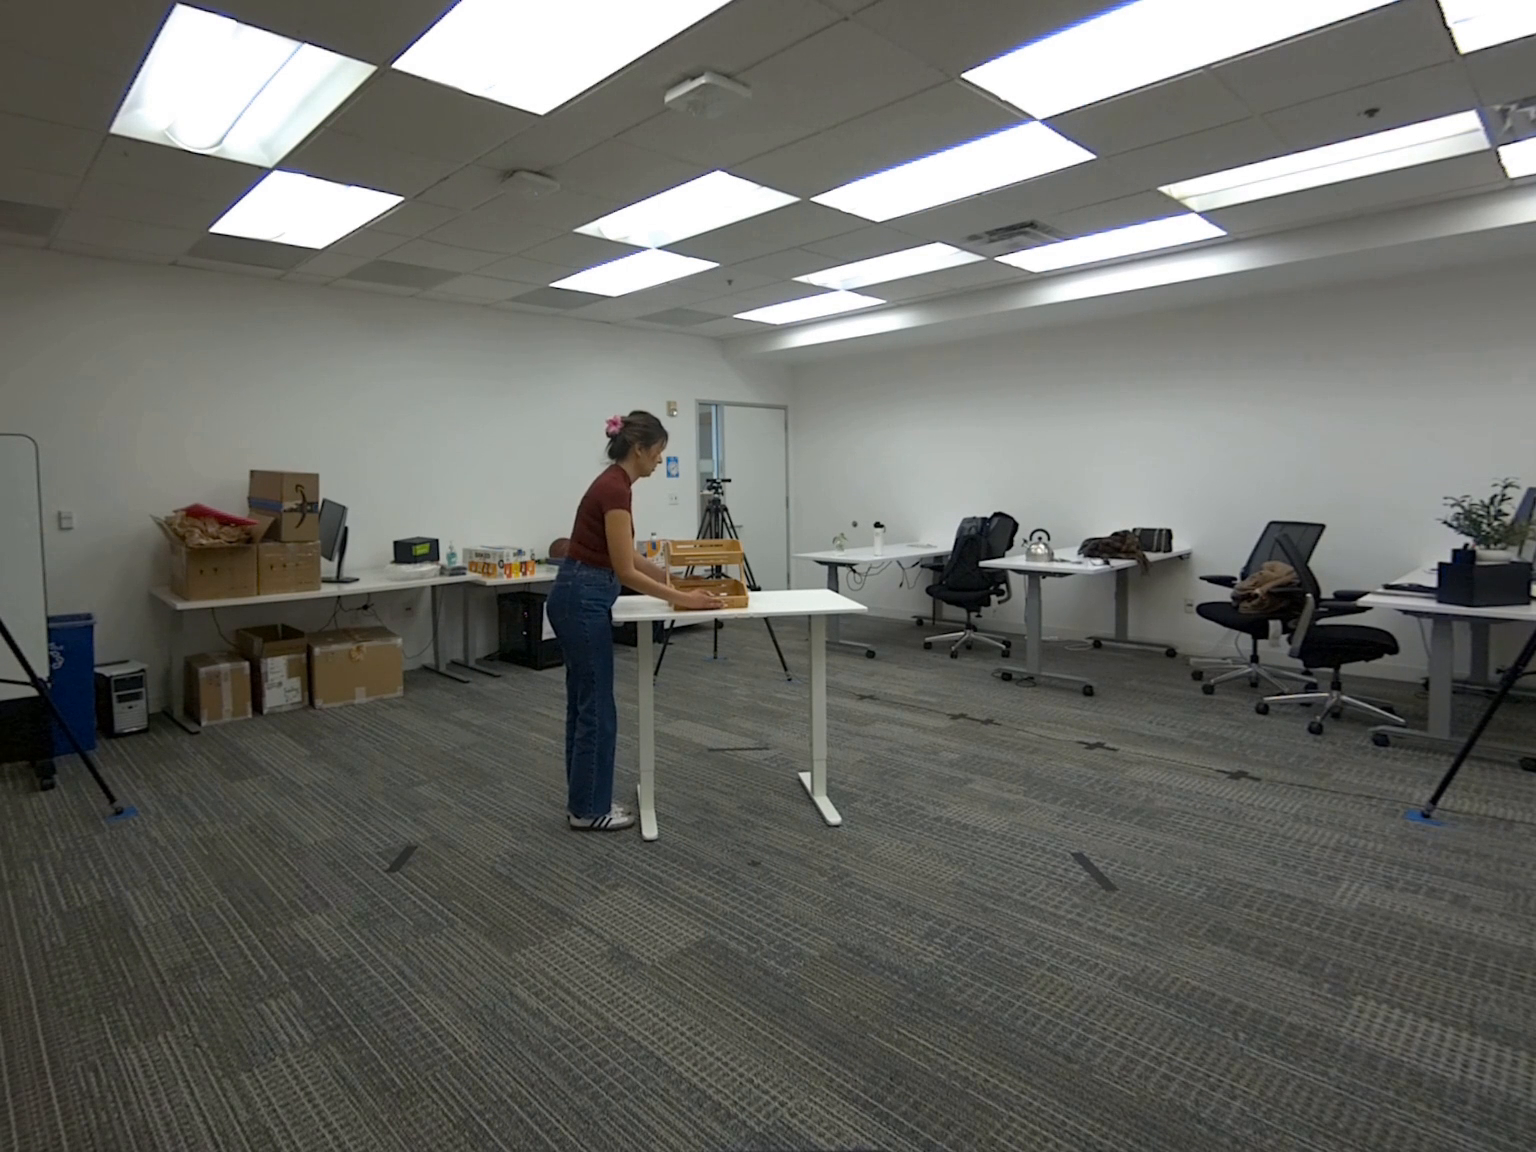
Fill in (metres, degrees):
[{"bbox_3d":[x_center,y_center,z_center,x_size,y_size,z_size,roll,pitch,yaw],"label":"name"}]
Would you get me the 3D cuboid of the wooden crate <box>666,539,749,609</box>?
[{"bbox_3d":[-0.260,-0.013,3.521,0.321,0.272,0.307,-1,5,-13],"label":"wooden crate"}]
